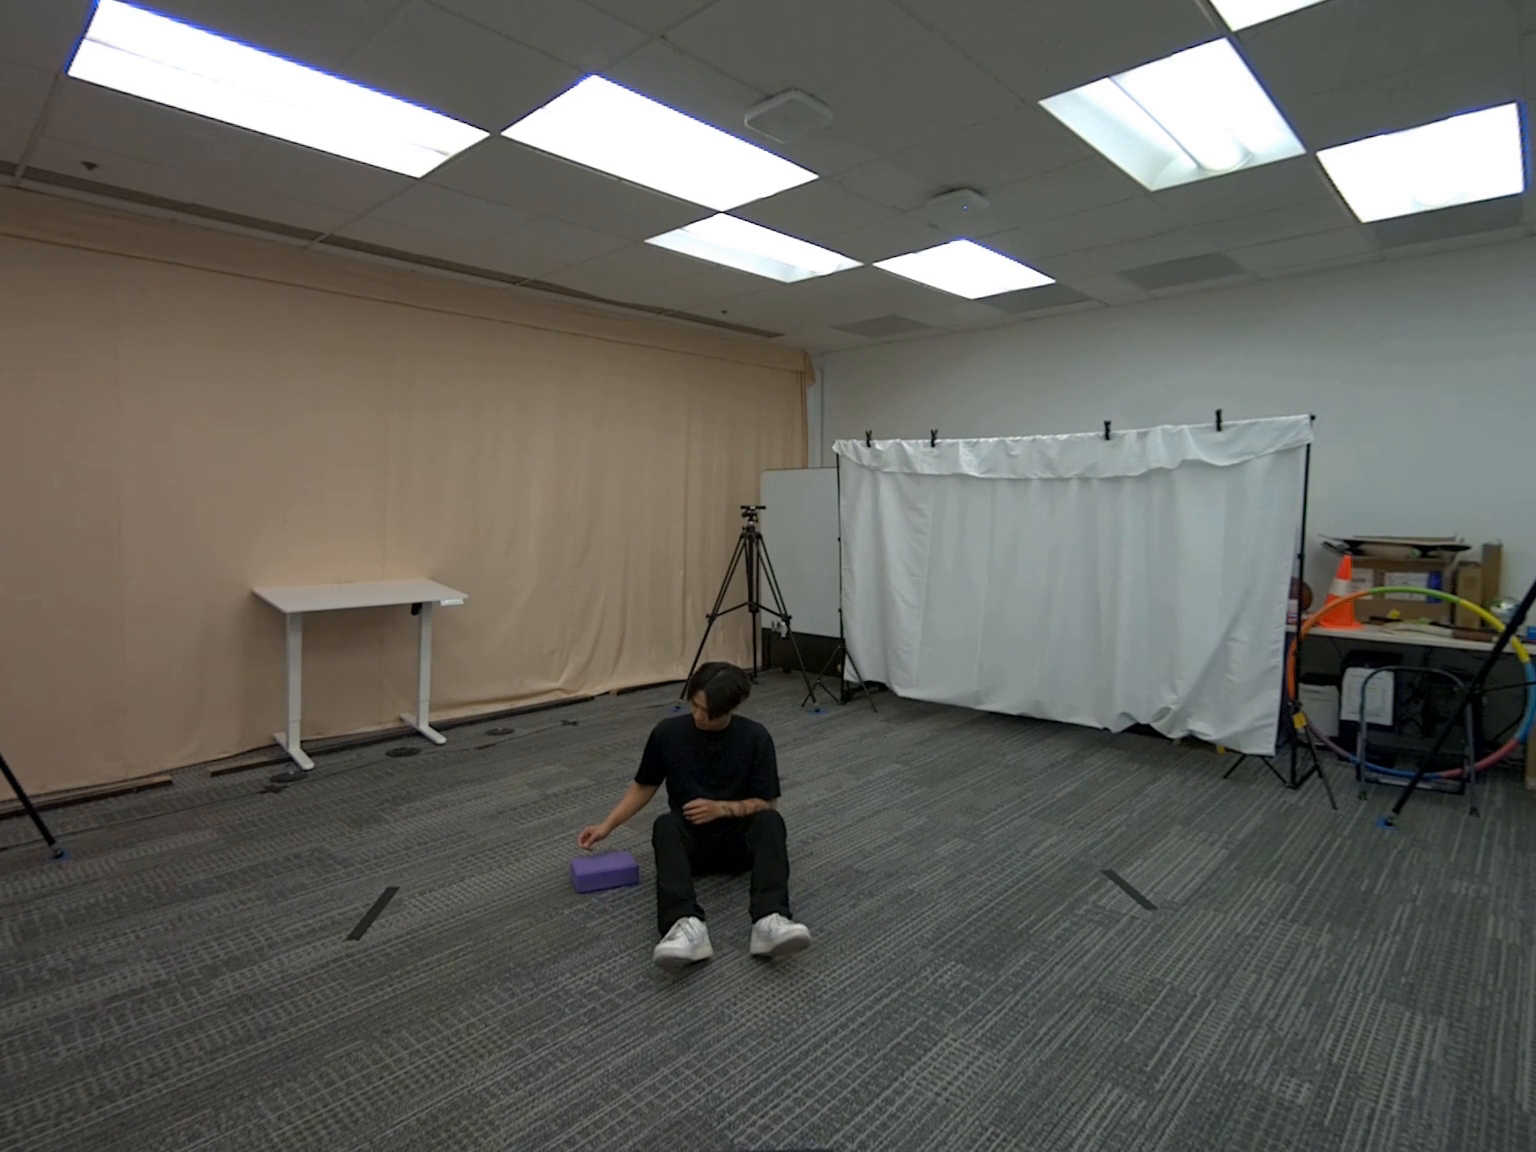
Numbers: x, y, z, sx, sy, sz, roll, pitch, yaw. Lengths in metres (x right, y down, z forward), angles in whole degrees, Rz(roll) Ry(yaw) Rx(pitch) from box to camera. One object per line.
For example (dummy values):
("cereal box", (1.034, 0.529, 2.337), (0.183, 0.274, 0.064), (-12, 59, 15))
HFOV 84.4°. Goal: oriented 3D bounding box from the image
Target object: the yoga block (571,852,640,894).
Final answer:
("yoga block", (-0.607, 1.096, 3.138), (0.225, 0.076, 0.152), (-2, 6, -21))
